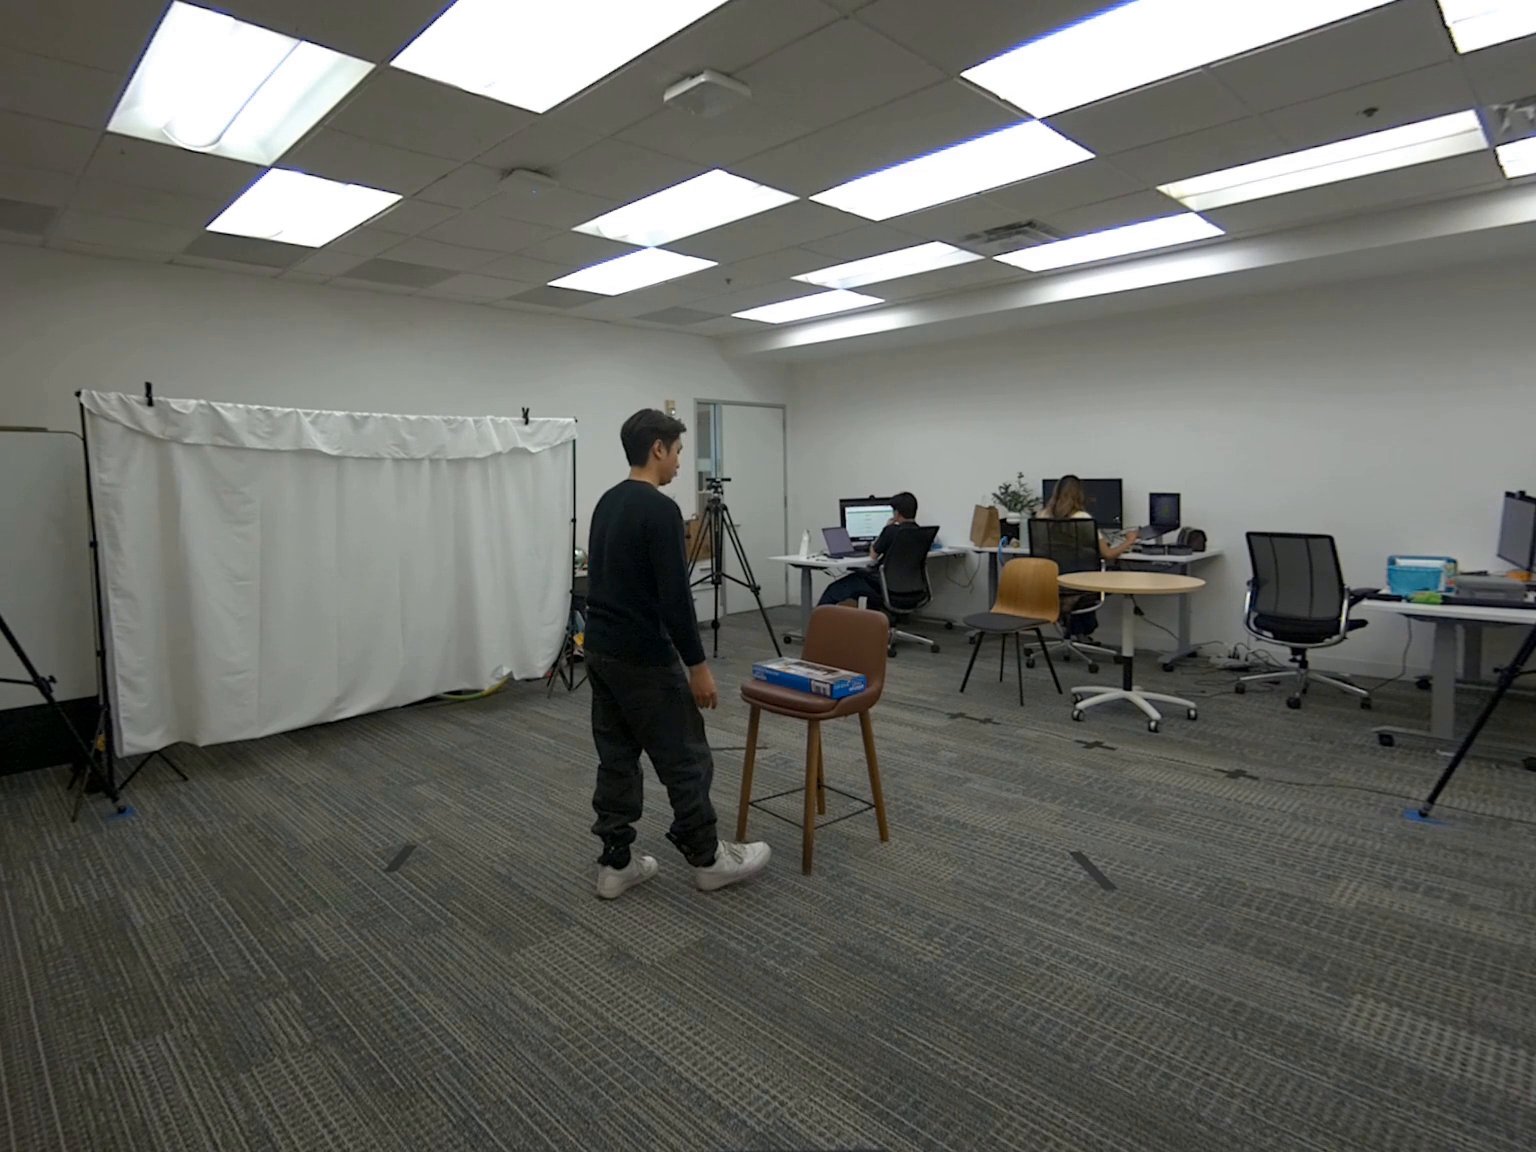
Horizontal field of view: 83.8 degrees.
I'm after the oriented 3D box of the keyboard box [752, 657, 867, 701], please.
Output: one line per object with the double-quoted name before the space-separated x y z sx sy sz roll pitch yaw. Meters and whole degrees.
"keyboard box" 0.146 0.376 3.231 0.171 0.059 0.450 -7 9 -39
